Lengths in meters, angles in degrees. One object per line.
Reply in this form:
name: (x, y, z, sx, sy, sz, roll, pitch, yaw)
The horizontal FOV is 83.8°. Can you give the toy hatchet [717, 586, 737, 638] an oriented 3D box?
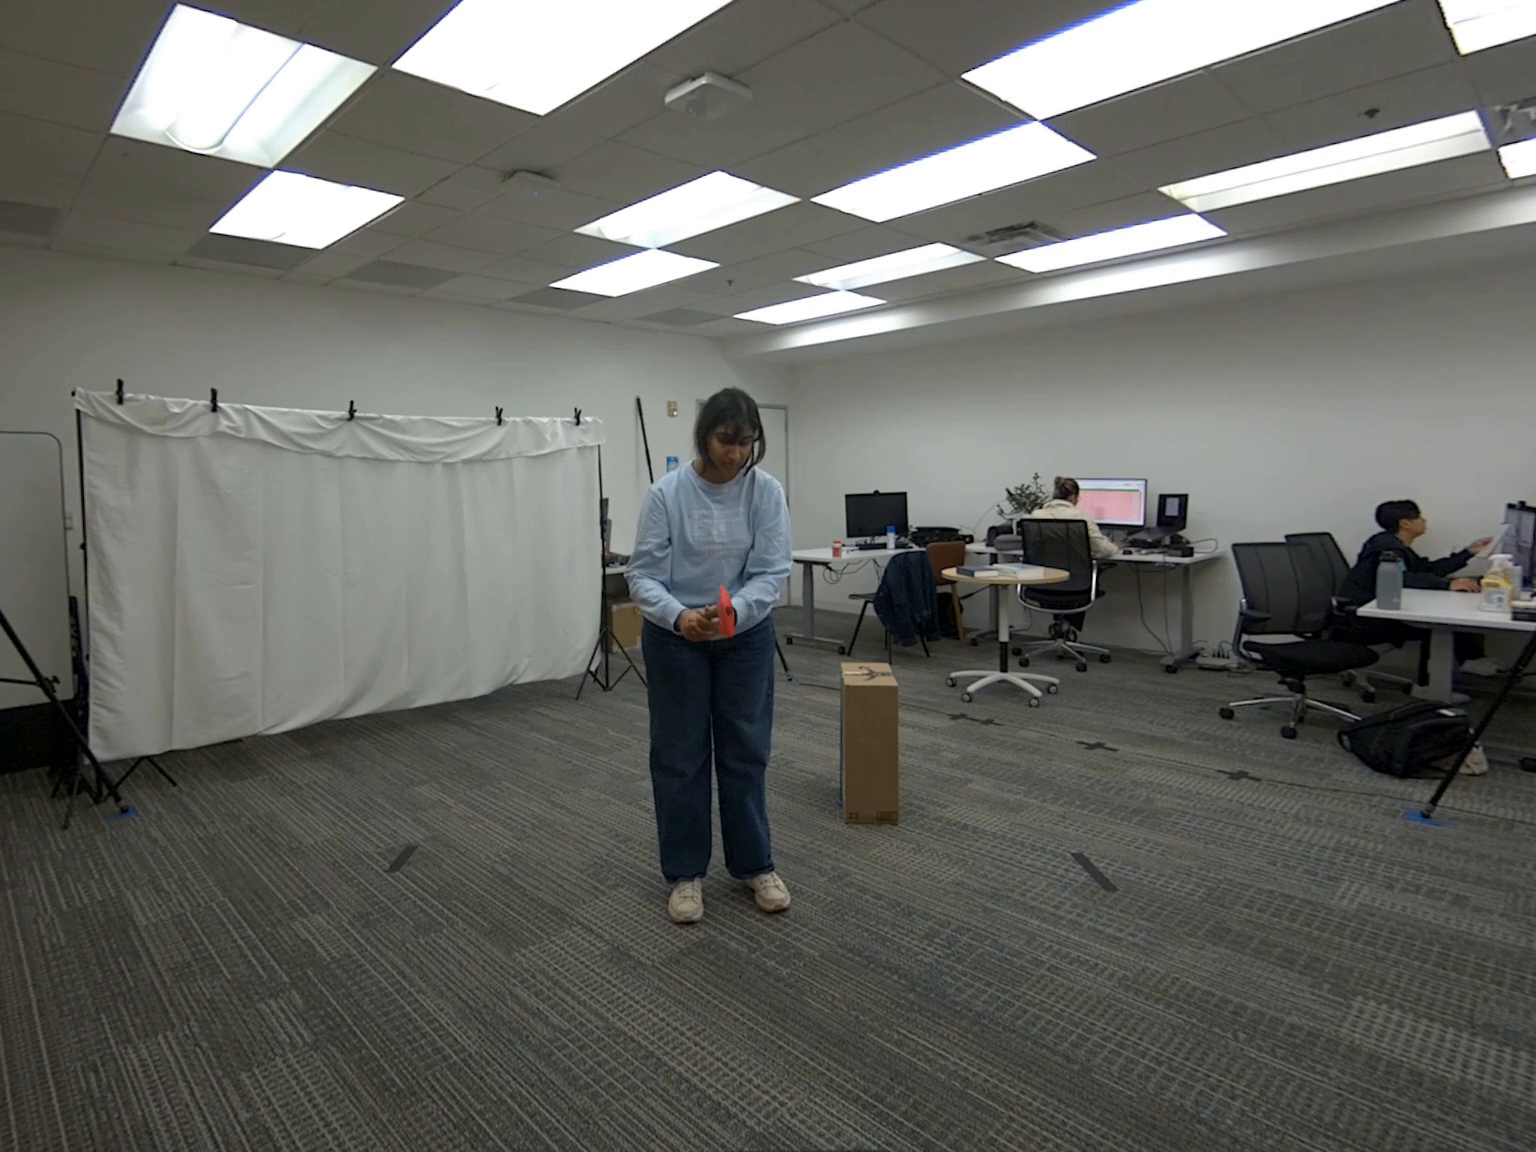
toy hatchet: (-0.137, 0.135, 2.306, 0.029, 0.134, 0.268, -6, -24, -20)
